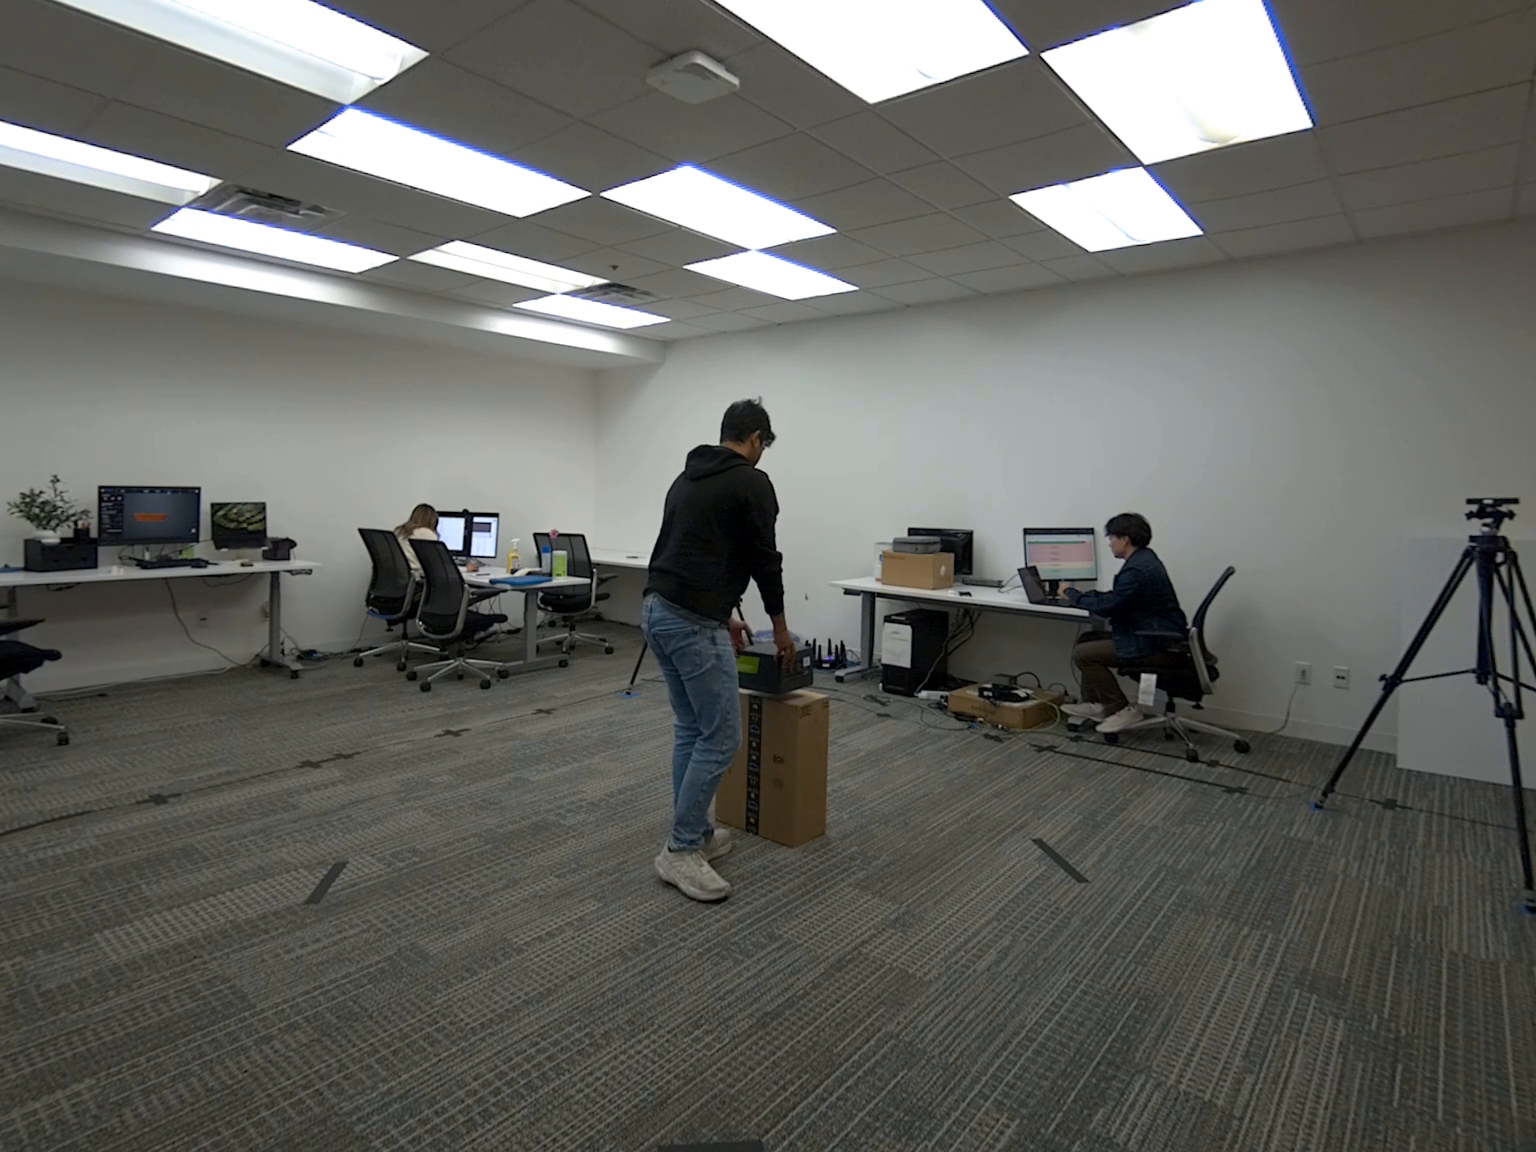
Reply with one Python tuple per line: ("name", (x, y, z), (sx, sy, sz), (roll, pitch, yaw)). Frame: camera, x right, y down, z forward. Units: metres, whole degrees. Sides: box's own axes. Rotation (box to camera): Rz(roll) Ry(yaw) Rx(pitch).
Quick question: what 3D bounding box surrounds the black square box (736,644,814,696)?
("black square box", (0.016, 0.364, 3.412), (0.235, 0.155, 0.211), (3, 7, 42))
